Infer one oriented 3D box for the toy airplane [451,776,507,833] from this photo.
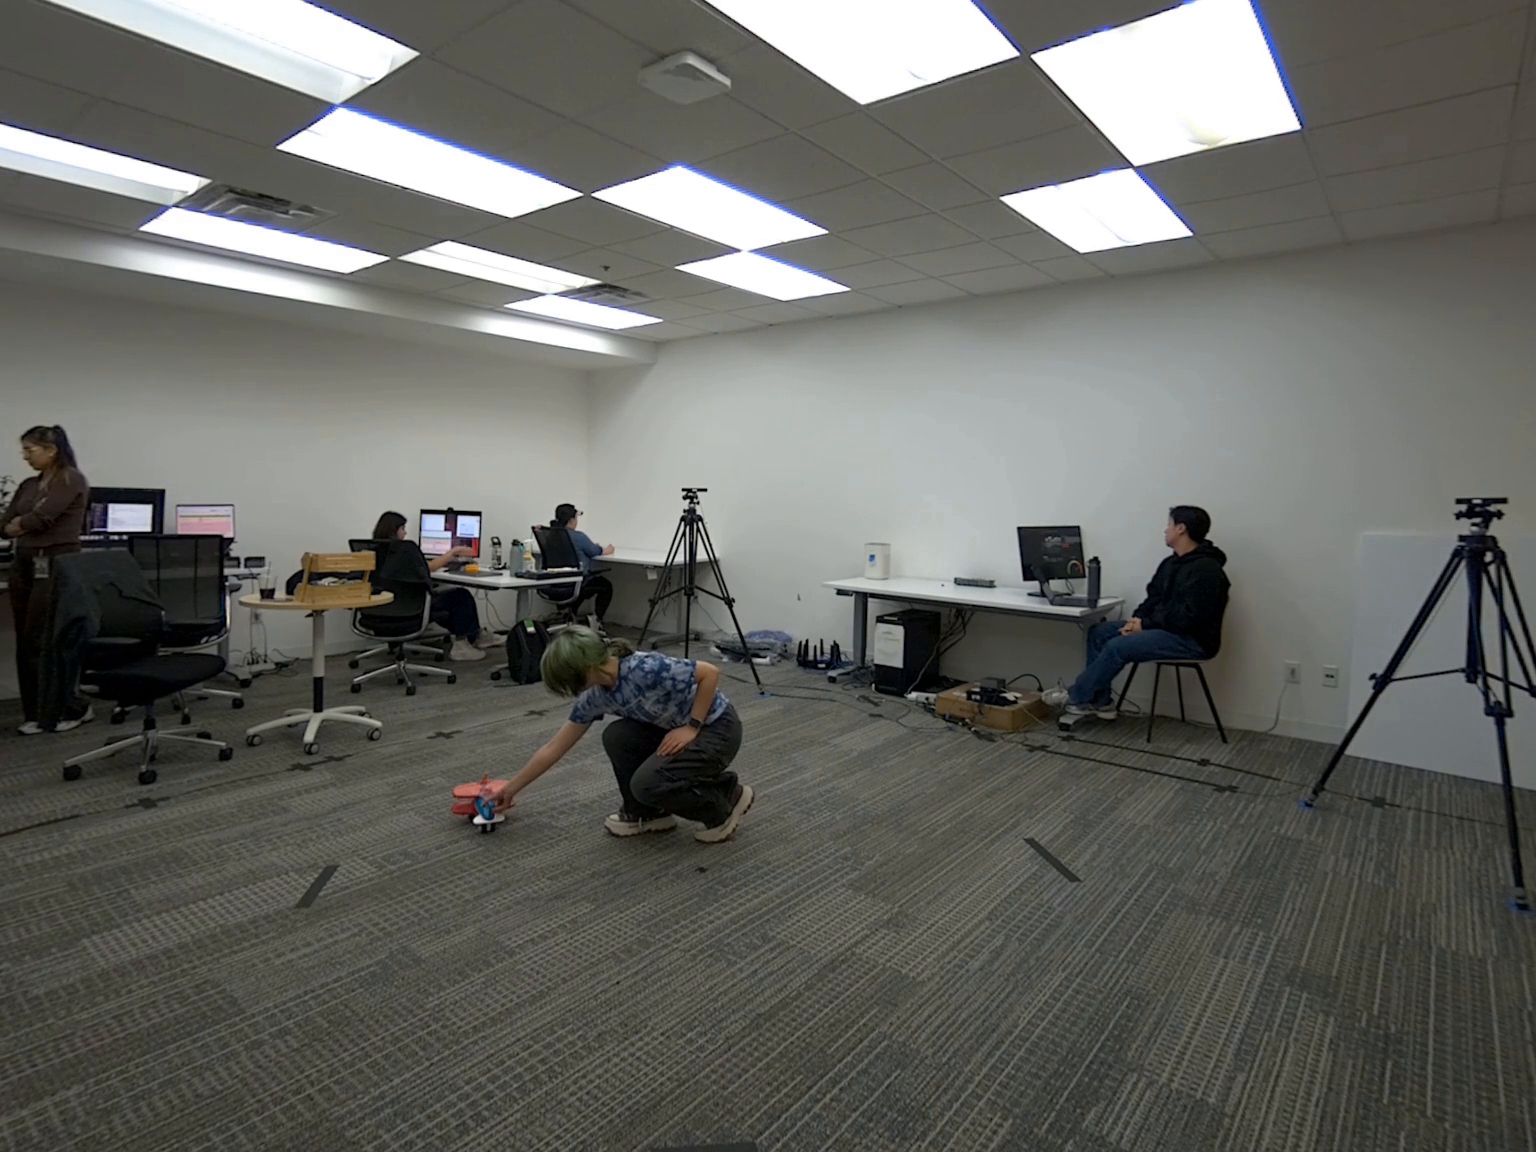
[{"bbox_3d":[-1.167,0.947,3.509,0.268,0.156,0.243,4,4,38],"label":"toy airplane"}]
